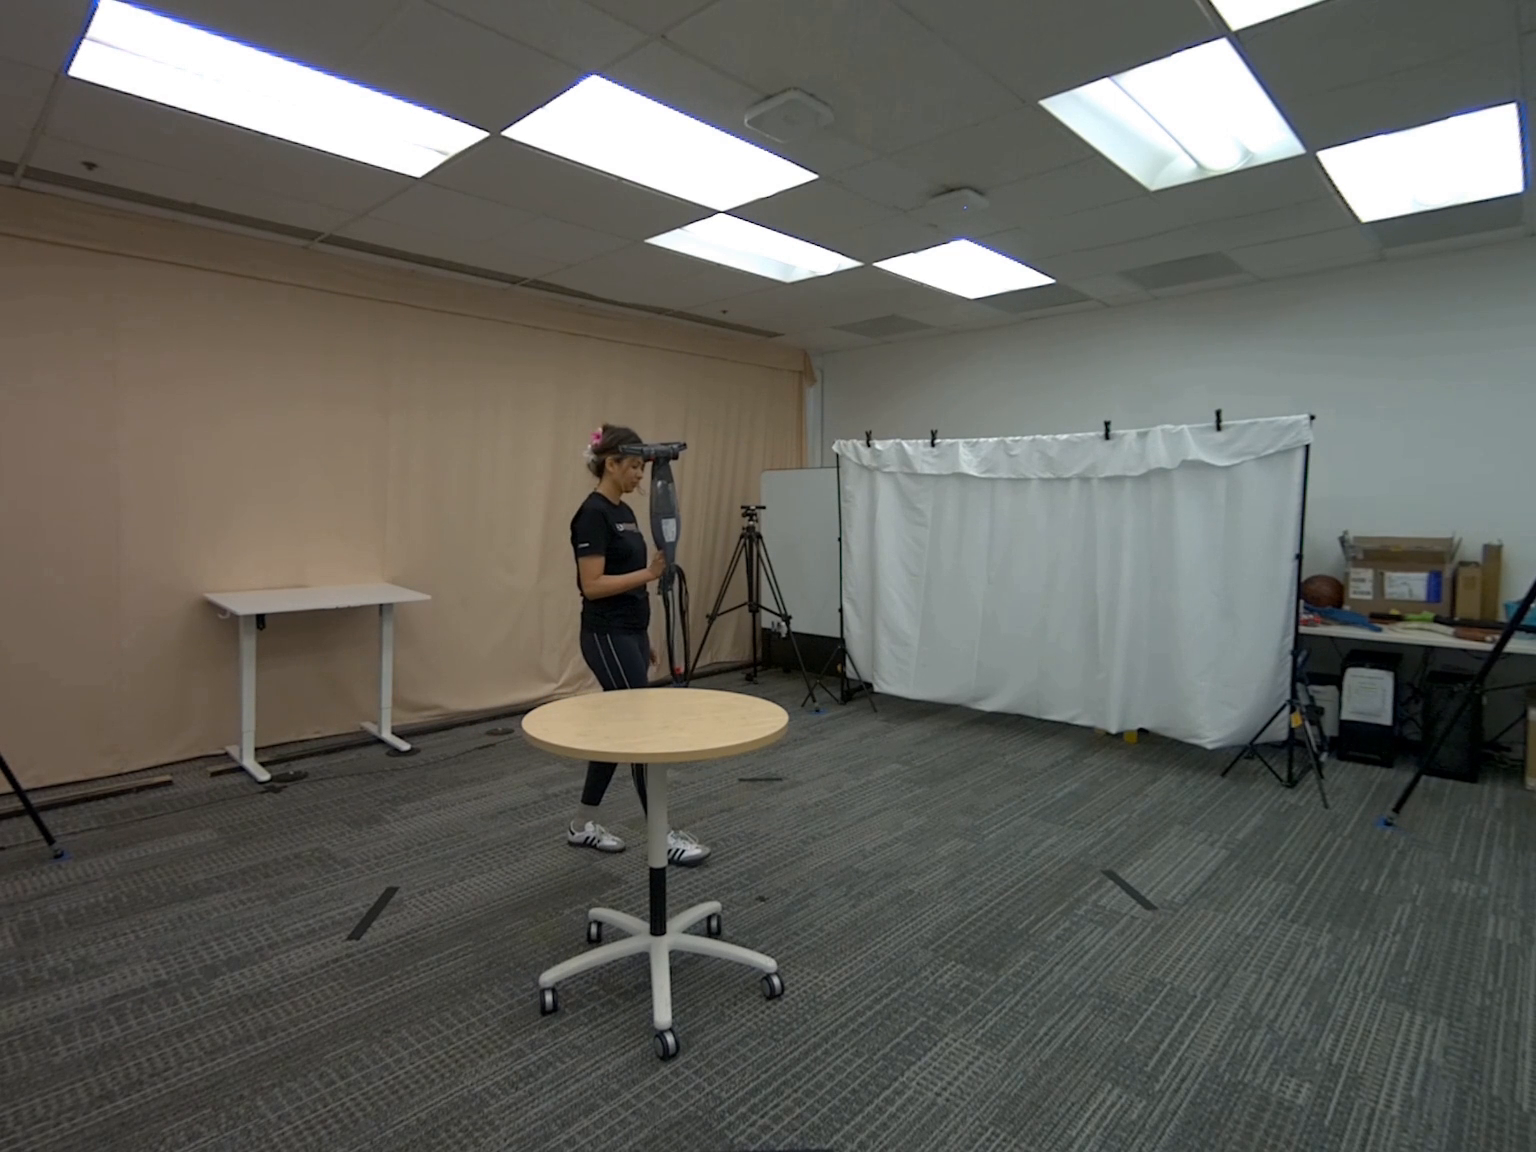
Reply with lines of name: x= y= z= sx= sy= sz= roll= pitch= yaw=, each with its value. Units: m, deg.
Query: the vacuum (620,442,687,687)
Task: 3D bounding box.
vacuum: x=-0.357 y=0.041 z=3.087 sx=0.248 sy=1.049 sz=0.146 roll=-6 pitch=0 yaw=-19
